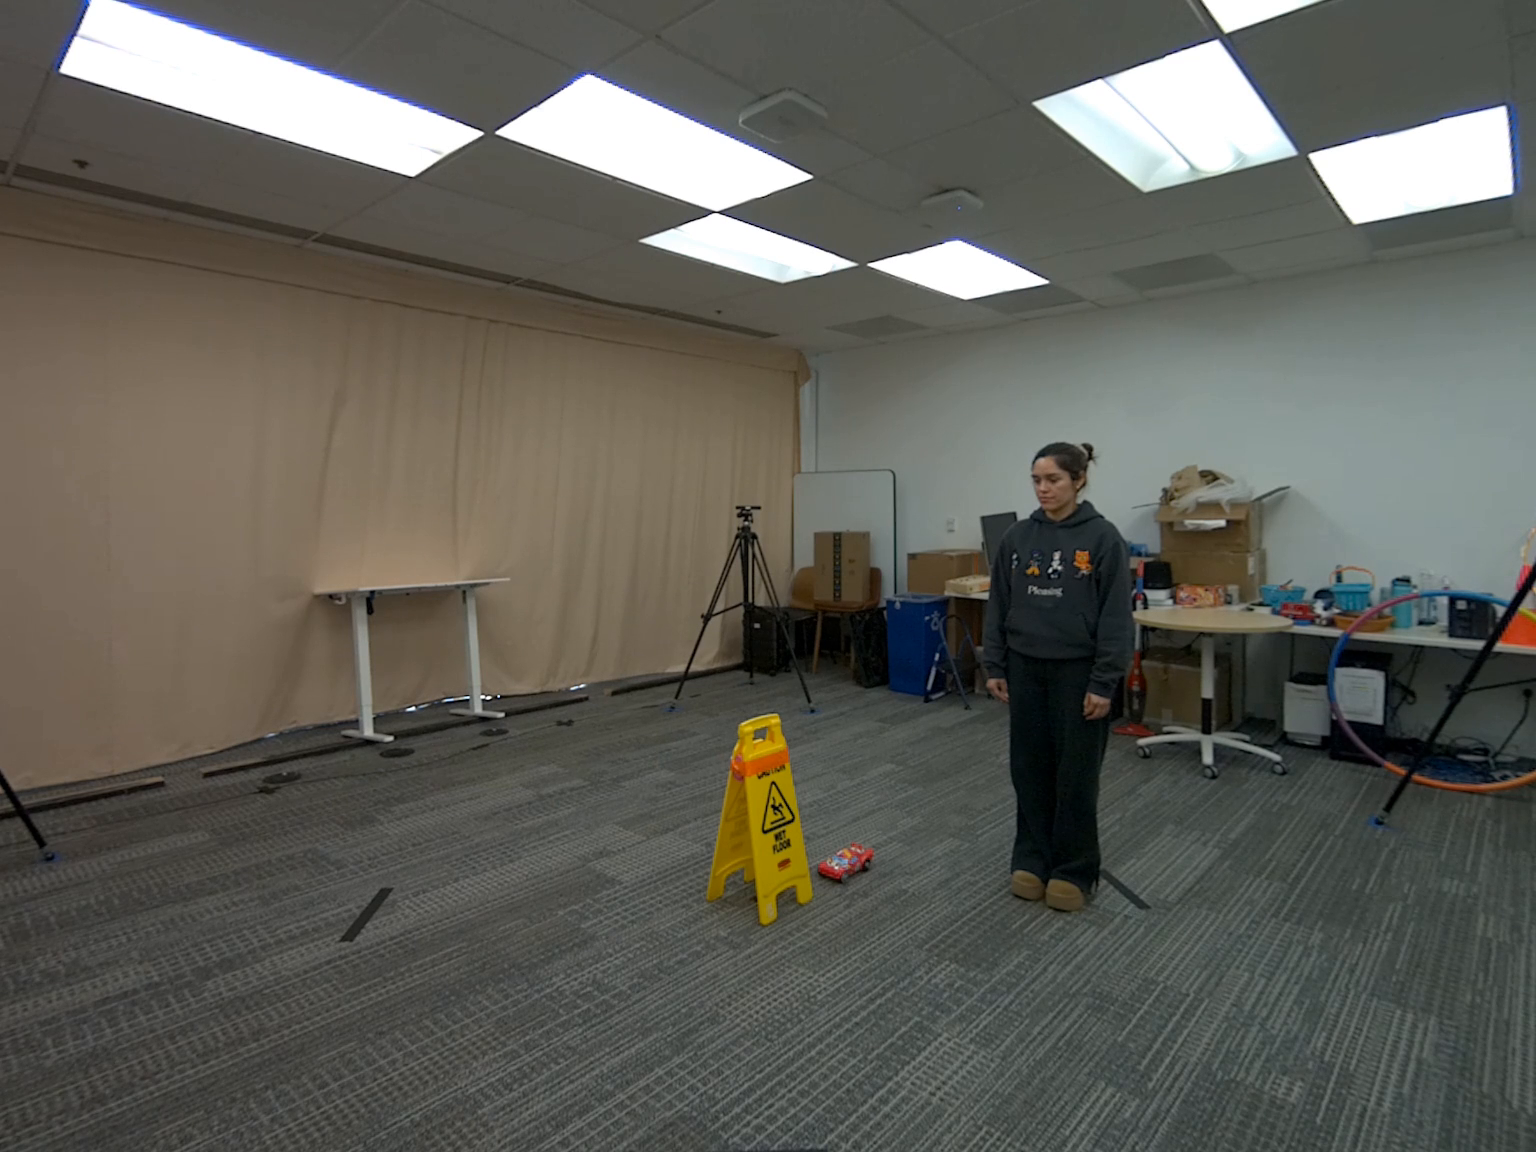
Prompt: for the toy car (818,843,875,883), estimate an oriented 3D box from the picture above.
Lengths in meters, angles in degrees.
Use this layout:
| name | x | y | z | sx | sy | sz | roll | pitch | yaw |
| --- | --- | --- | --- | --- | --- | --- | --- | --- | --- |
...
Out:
| name | x | y | z | sx | sy | sz | roll | pitch | yaw |
| --- | --- | --- | --- | --- | --- | --- | --- | --- | --- |
| toy car | 0.329 | 1.086 | 3.204 | 0.134 | 0.082 | 0.248 | 3 | 17 | 44 |
